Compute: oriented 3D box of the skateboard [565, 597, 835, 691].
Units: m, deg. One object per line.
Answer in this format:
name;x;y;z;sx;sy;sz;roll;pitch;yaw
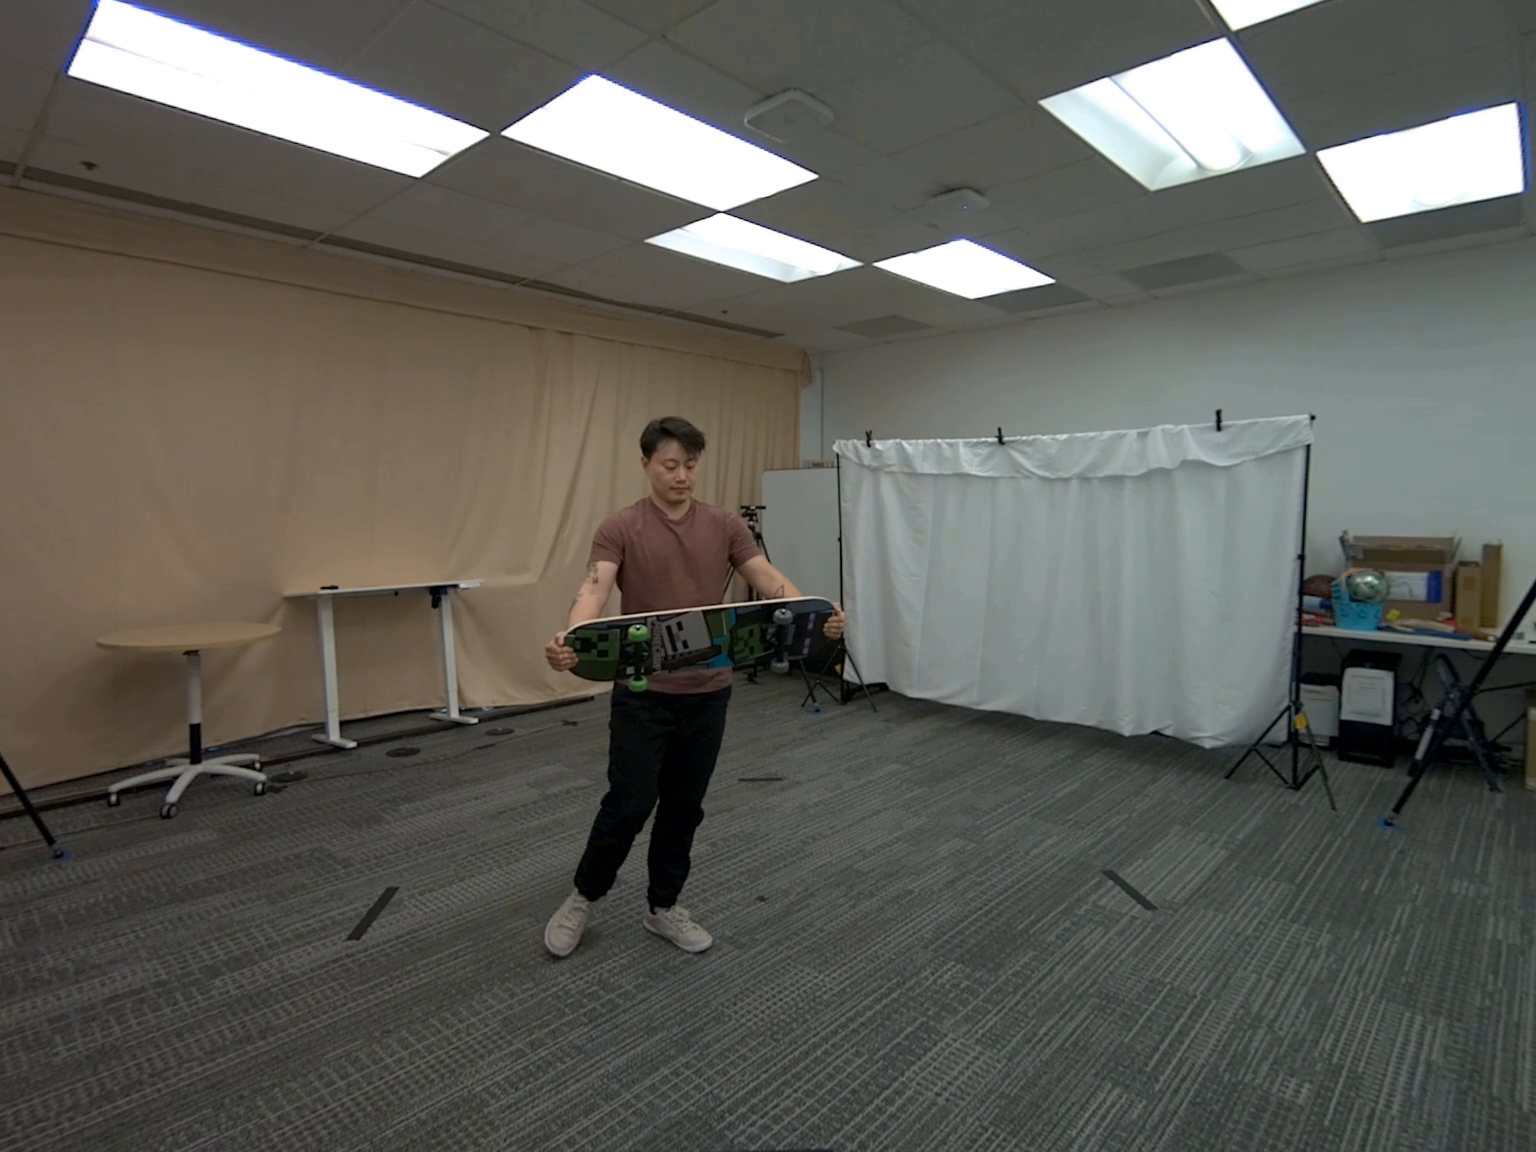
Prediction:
skateboard;-0.176;0.193;2.257;0.772;0.191;0.114;-6;28;-17
